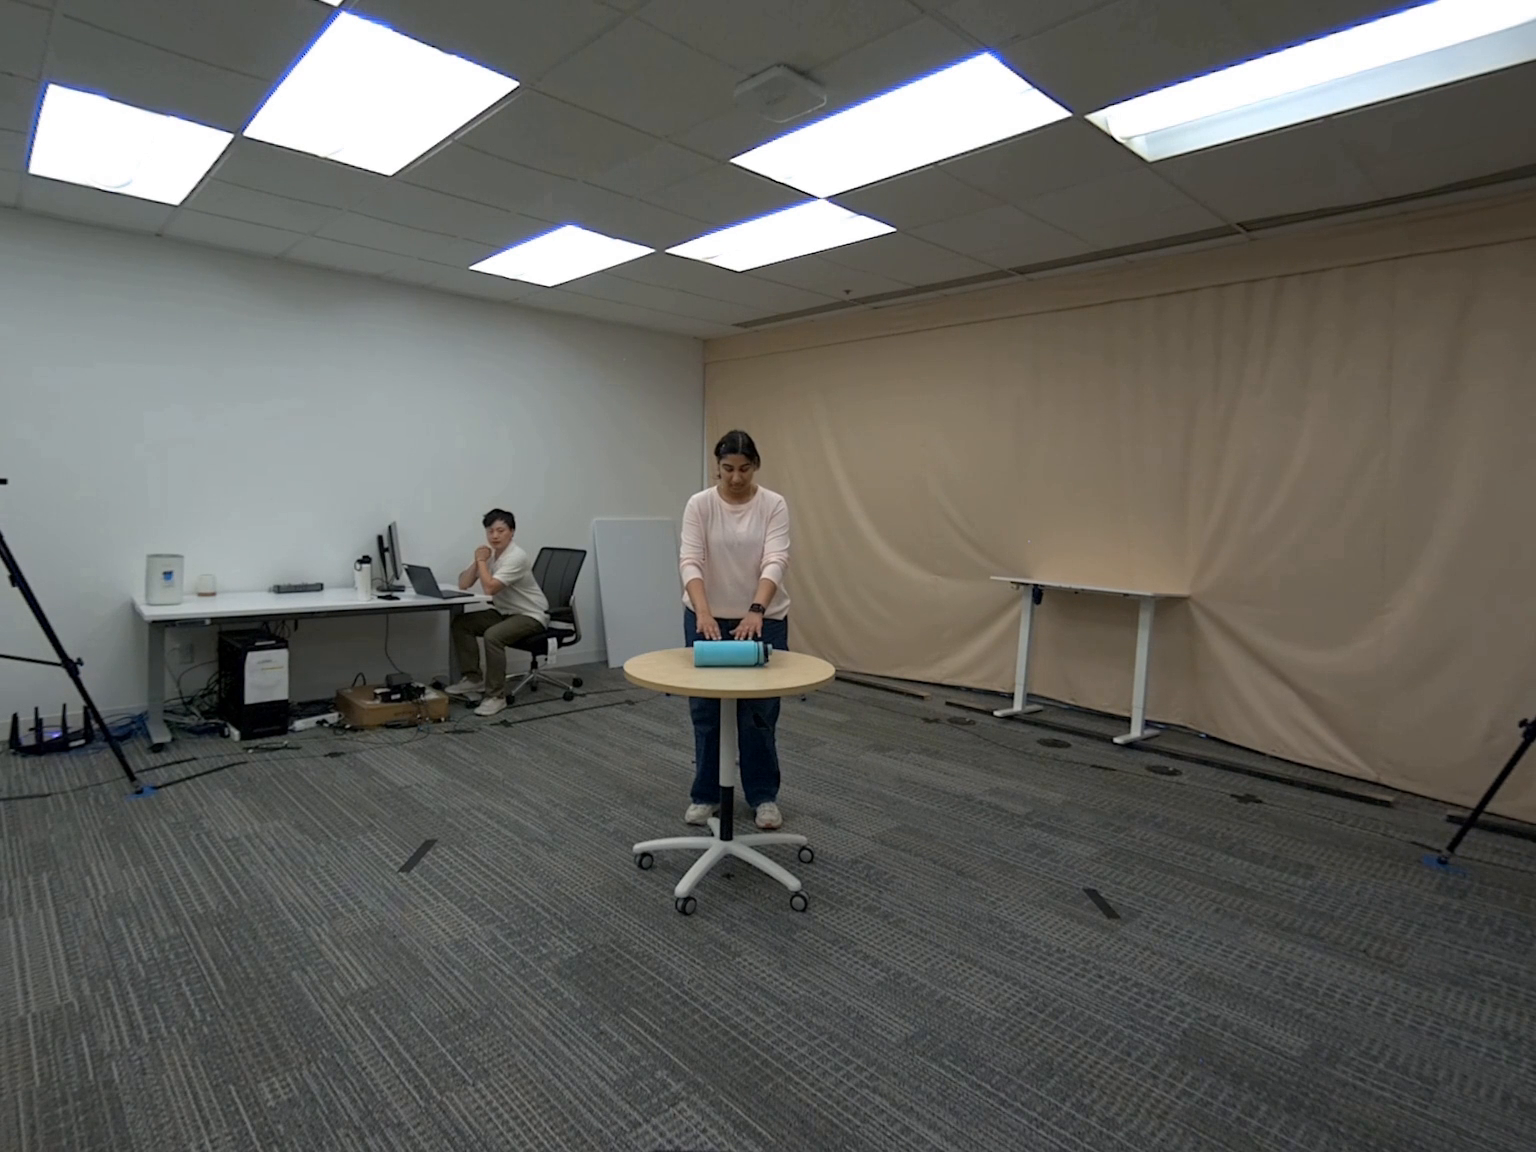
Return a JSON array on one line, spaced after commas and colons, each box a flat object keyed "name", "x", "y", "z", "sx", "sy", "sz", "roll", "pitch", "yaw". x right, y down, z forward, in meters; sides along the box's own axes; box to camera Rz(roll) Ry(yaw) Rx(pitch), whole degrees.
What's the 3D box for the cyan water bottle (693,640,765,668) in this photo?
[{"name": "cyan water bottle", "x": -0.146, "y": 0.281, "z": 3.044, "sx": 0.282, "sy": 0.092, "sz": 0.093, "roll": 0, "pitch": 4, "yaw": -4}]
